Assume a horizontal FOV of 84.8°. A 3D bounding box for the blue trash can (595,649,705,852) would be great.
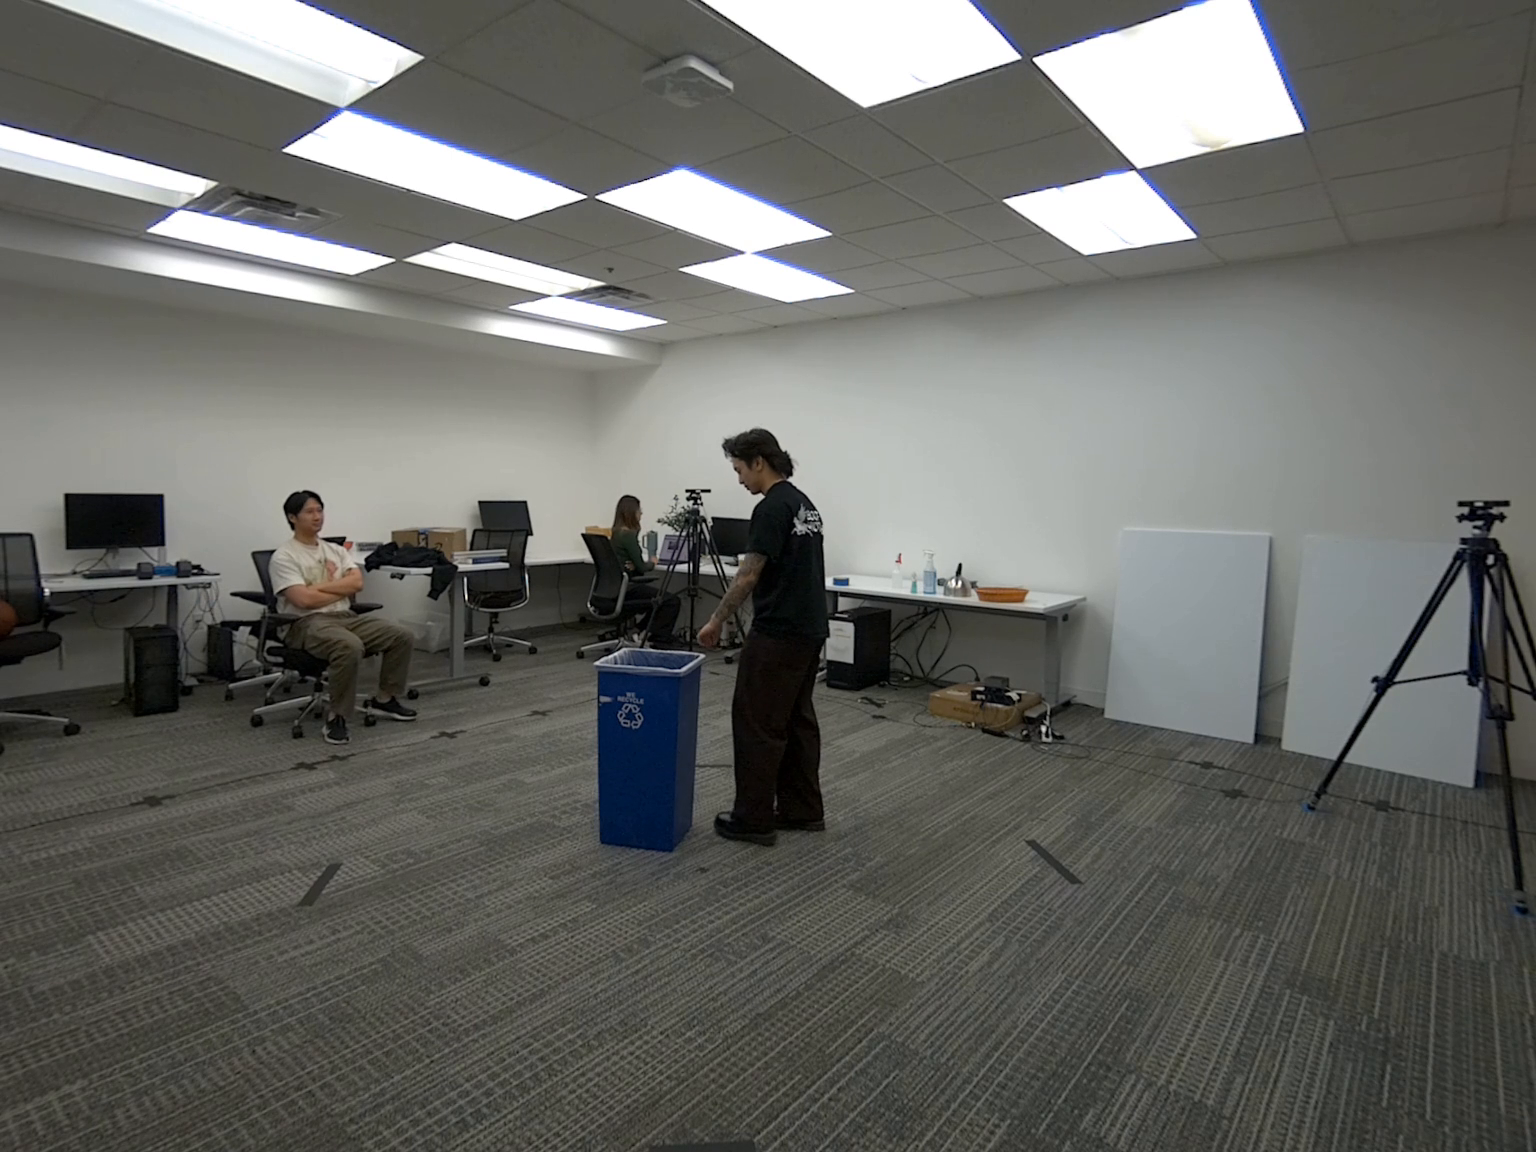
[{"bbox_3d":[-0.484,0.682,3.422,0.379,0.712,0.374,1,3,12],"label":"blue trash can"}]
